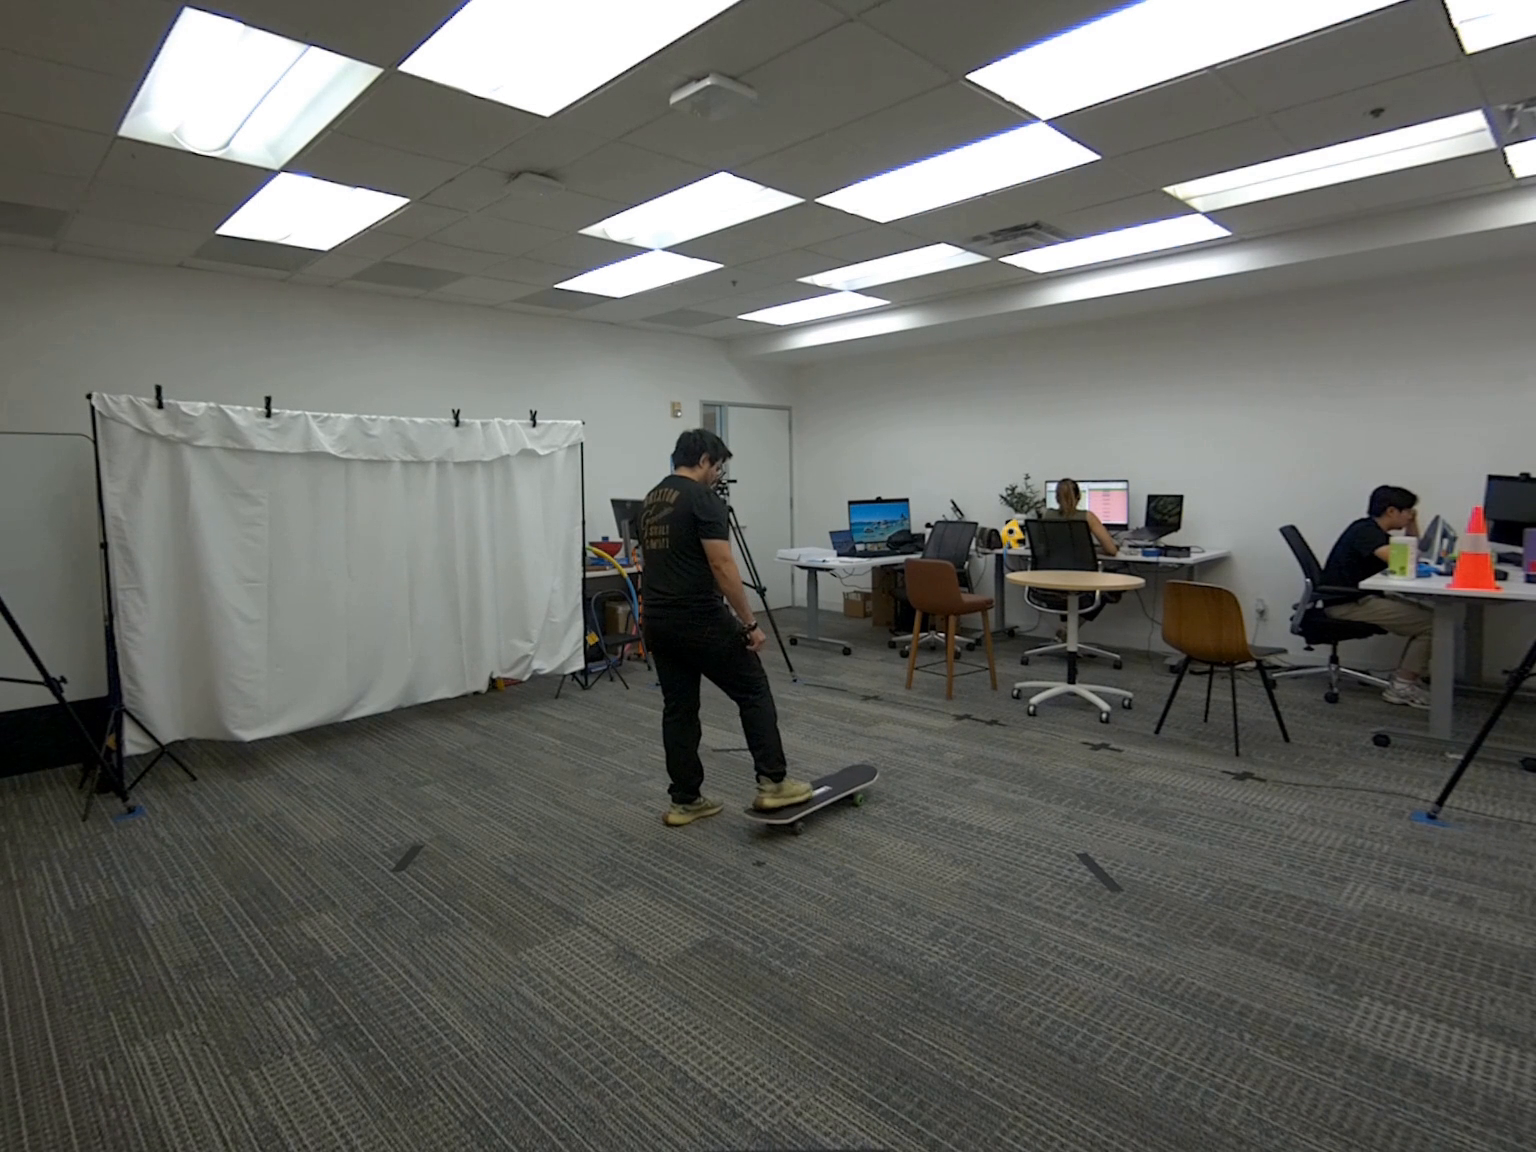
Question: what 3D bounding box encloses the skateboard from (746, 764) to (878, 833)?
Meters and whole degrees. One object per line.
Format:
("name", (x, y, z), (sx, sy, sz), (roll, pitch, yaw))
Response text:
("skateboard", (0.196, 0.936, 3.562), (0.199, 0.110, 0.765), (2, 8, 43))
